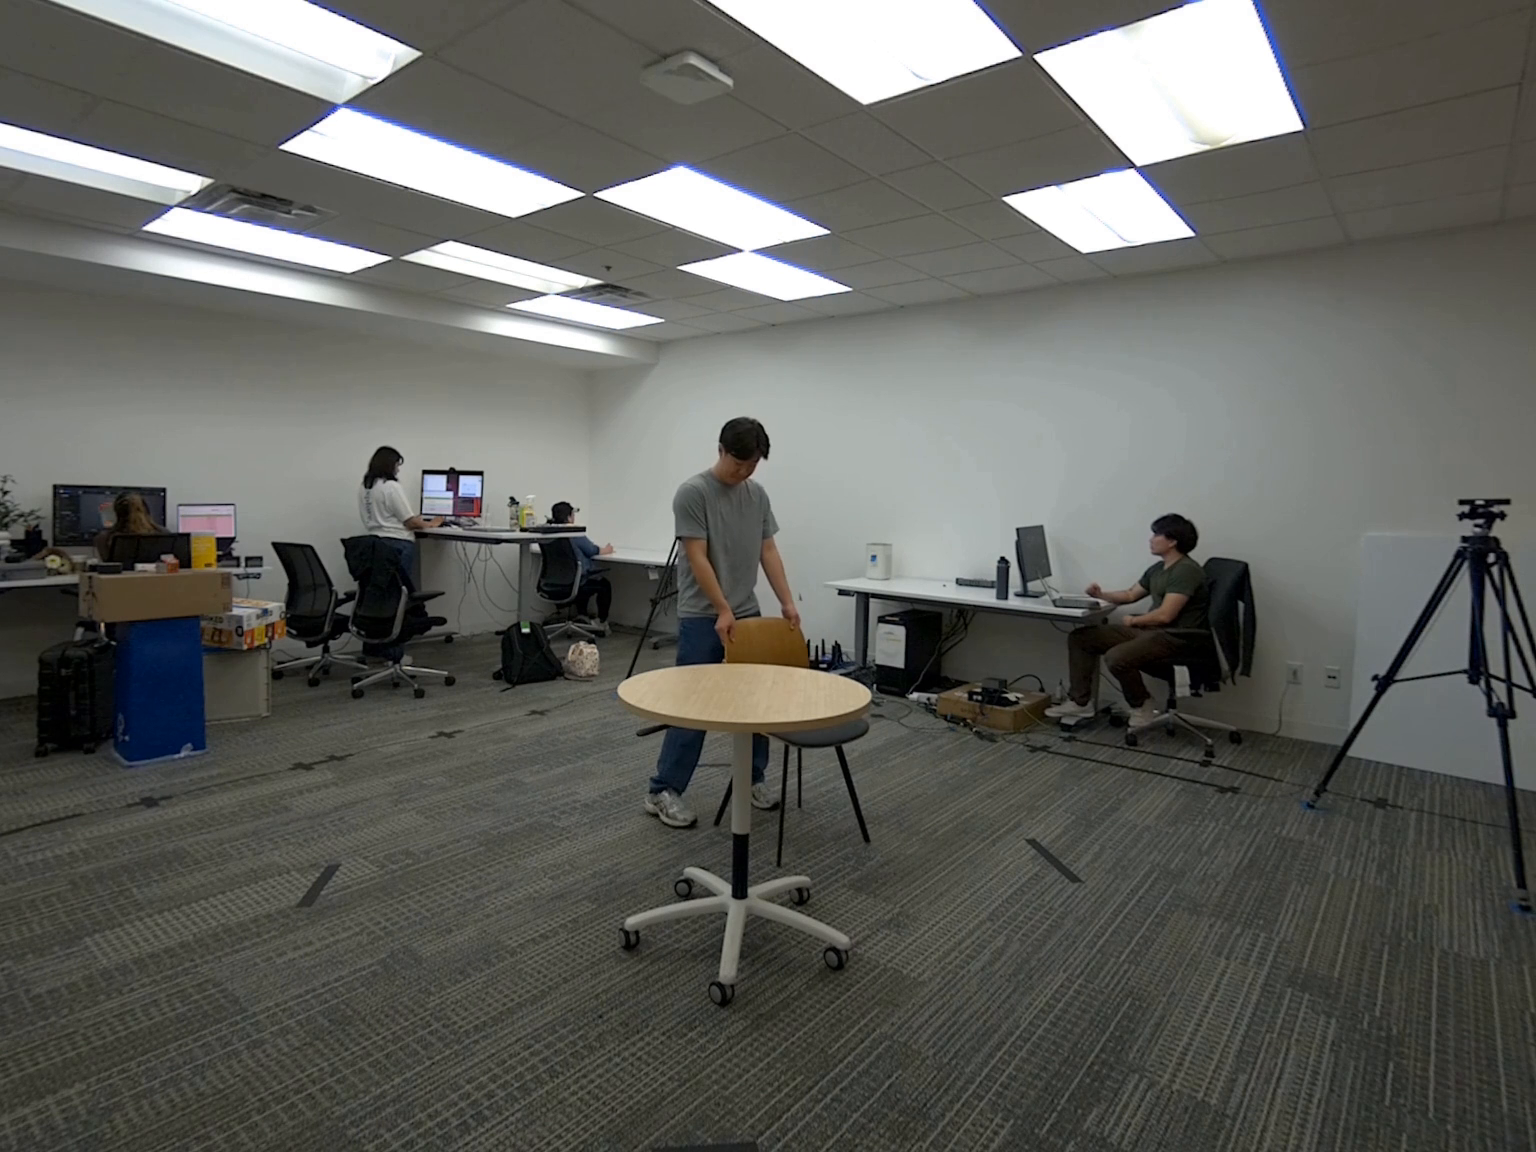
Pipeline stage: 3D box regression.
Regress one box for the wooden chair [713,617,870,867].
[{"bbox_3d":[0.087,0.614,3.413,0.464,0.878,0.538,0,-1,-35],"label":"wooden chair"}]
